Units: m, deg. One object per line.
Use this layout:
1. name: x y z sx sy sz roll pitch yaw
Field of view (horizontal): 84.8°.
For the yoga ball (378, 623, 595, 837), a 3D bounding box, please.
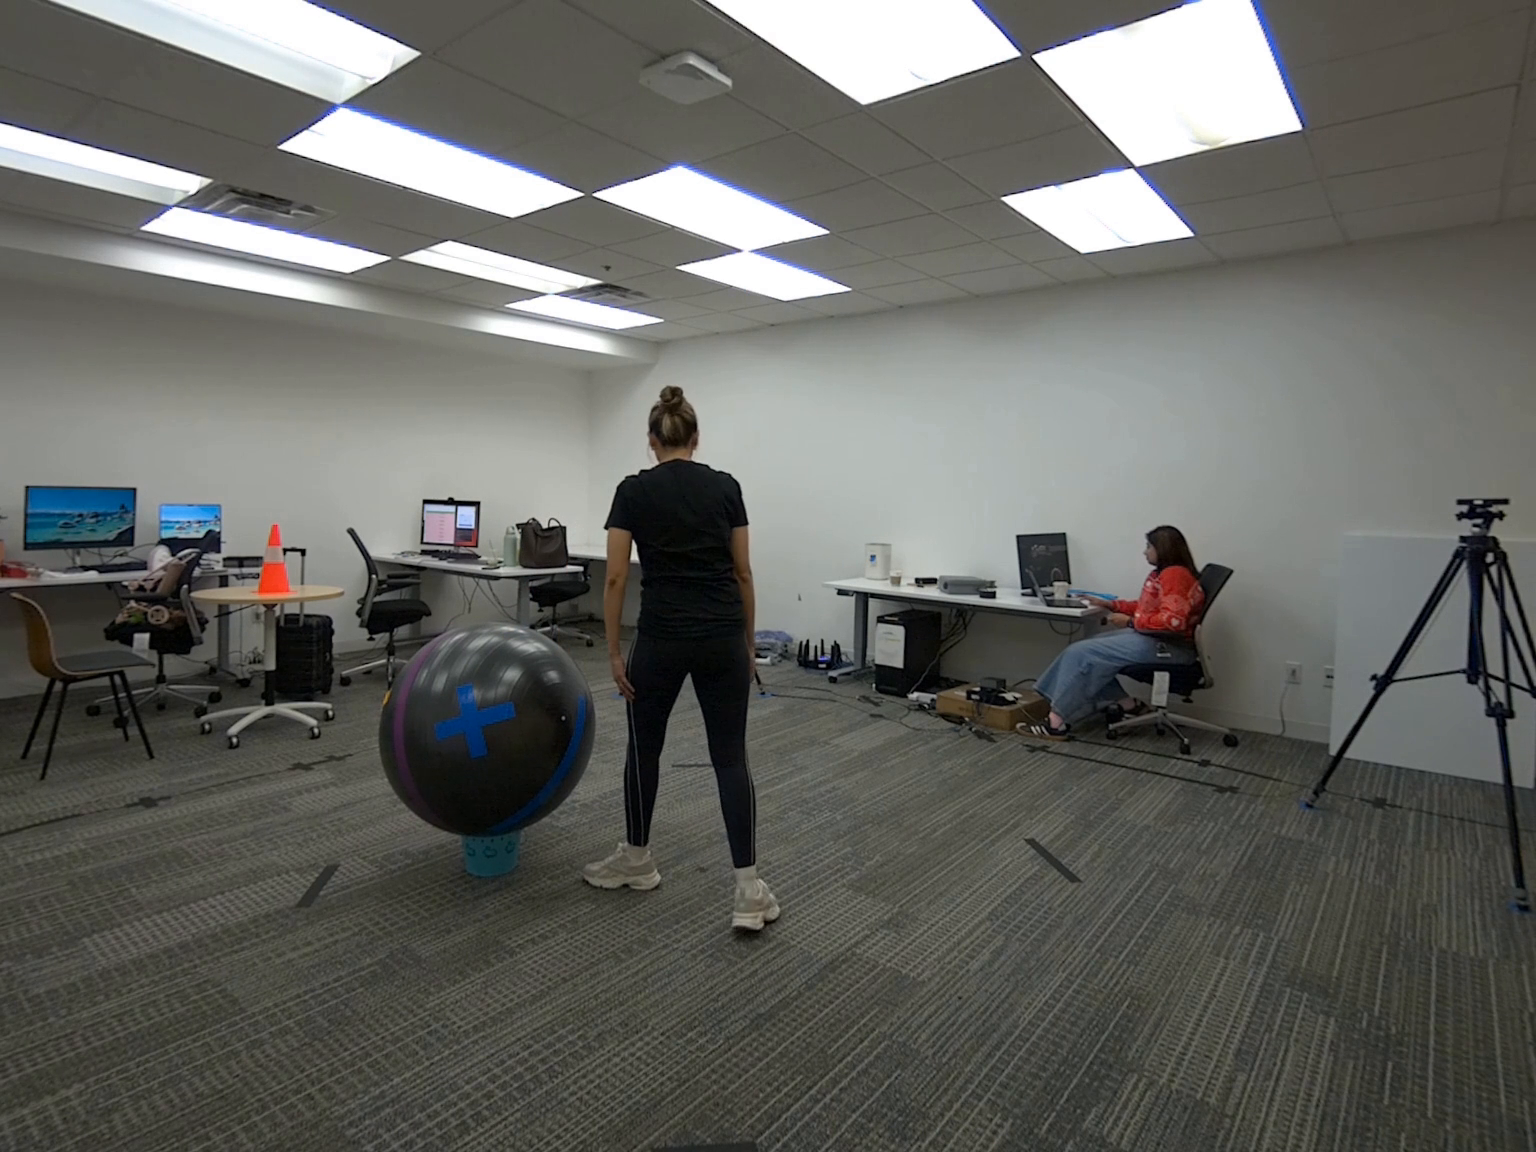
1. yoga ball: -1.024 0.551 3.086 0.757 0.756 0.762 1 4 -2
